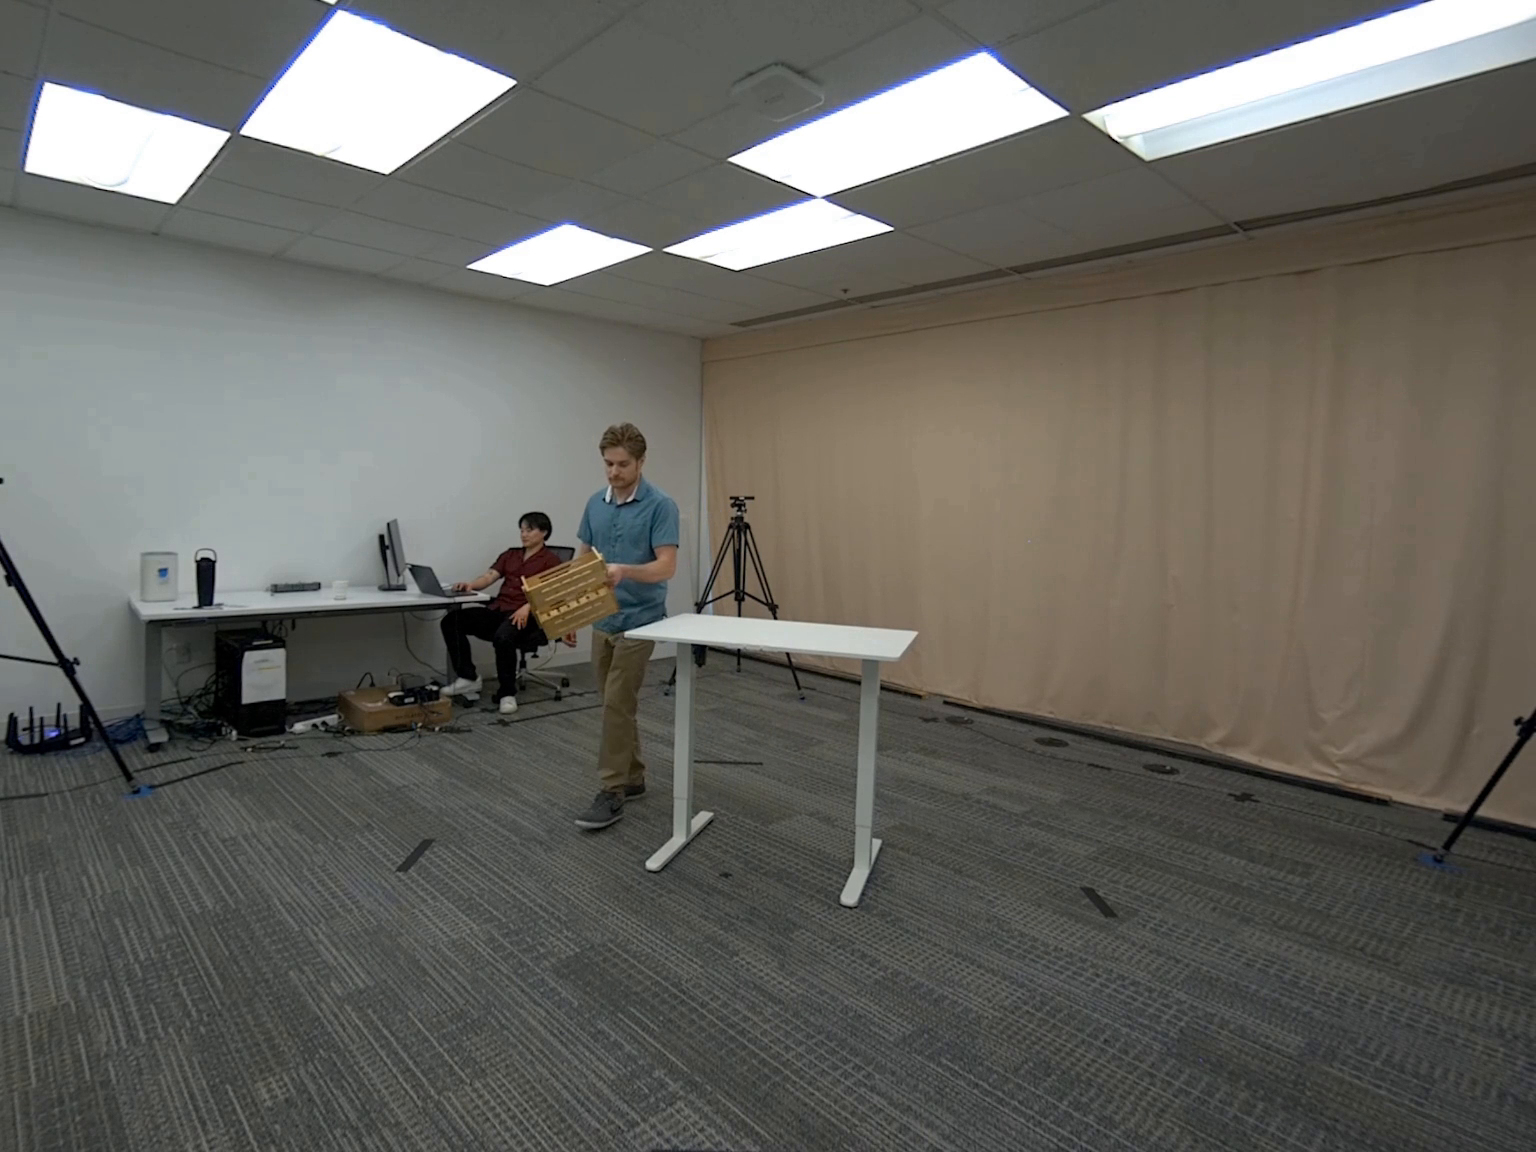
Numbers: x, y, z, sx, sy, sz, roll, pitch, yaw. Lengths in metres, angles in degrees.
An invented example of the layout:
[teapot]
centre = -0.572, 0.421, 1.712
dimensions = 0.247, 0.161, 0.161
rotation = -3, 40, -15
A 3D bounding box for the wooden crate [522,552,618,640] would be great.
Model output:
[wooden crate]
centre = -0.809, 0.053, 3.334
dimensions = 0.322, 0.267, 0.310
rotation = -25, 27, -14
